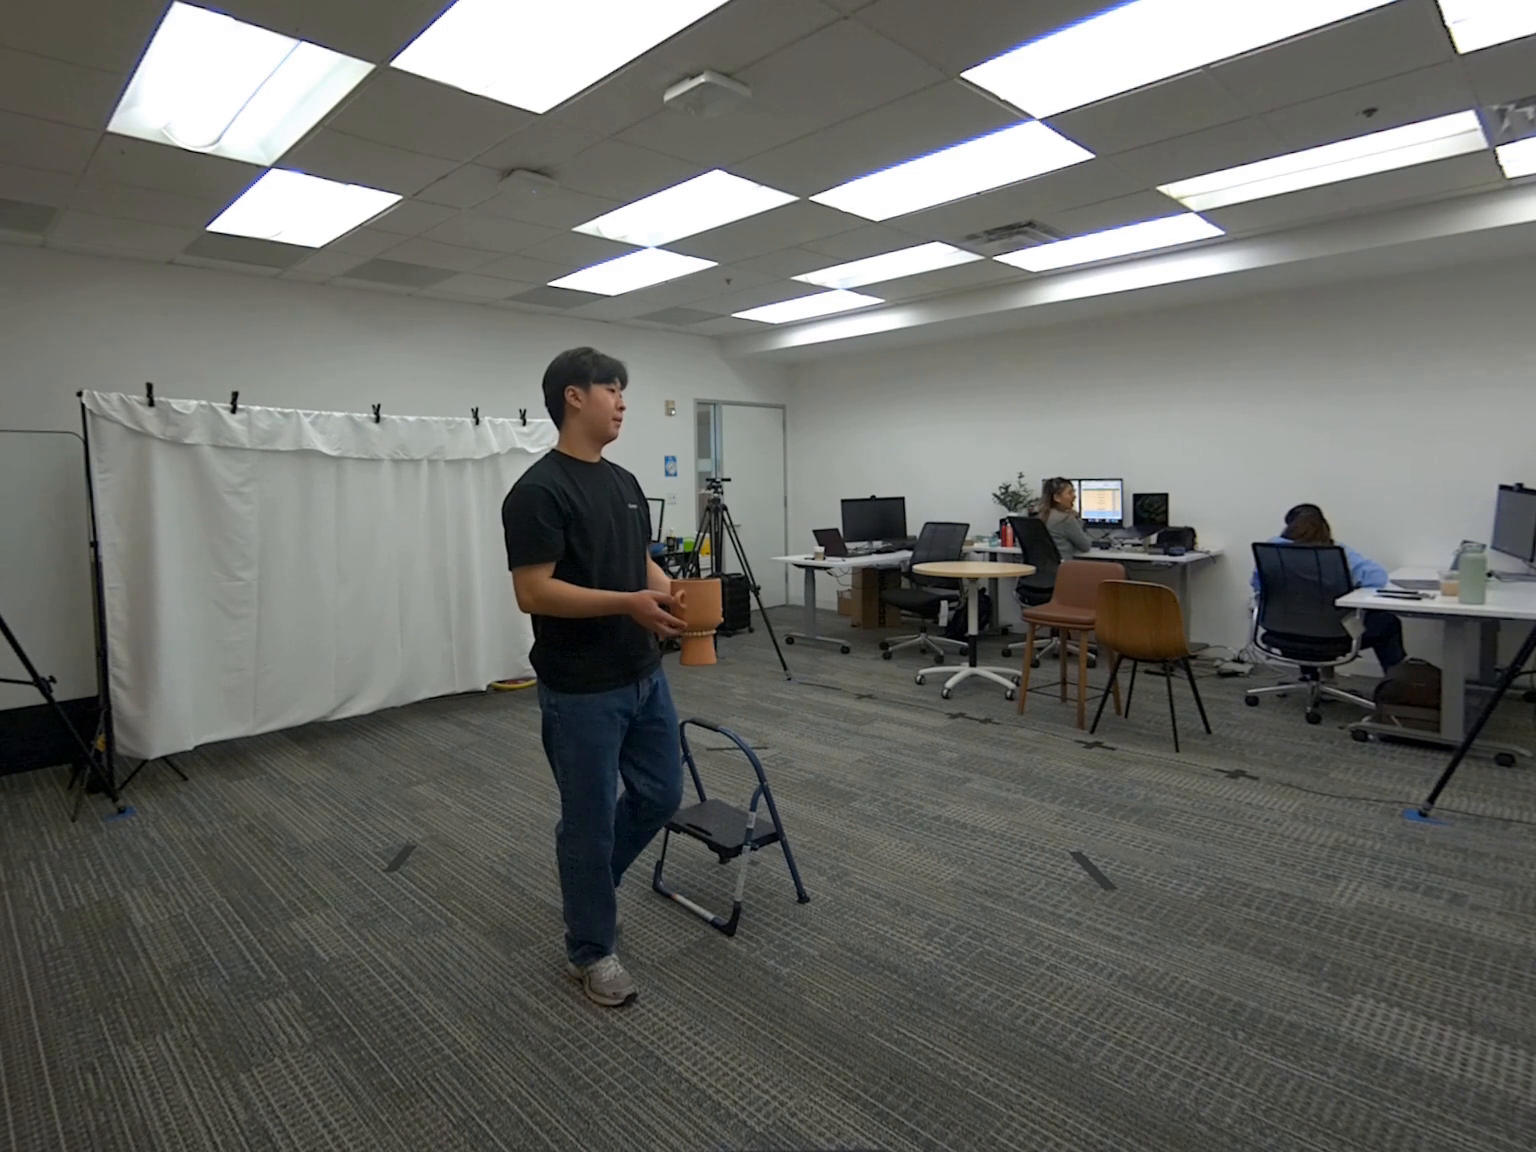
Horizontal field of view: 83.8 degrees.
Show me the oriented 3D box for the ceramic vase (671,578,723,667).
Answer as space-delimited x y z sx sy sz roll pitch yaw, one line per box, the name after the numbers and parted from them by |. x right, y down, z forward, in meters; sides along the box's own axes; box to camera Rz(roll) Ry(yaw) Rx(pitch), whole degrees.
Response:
-0.195 0.119 2.248 0.155 0.220 0.137 -2 -1 -25 | ceramic vase
